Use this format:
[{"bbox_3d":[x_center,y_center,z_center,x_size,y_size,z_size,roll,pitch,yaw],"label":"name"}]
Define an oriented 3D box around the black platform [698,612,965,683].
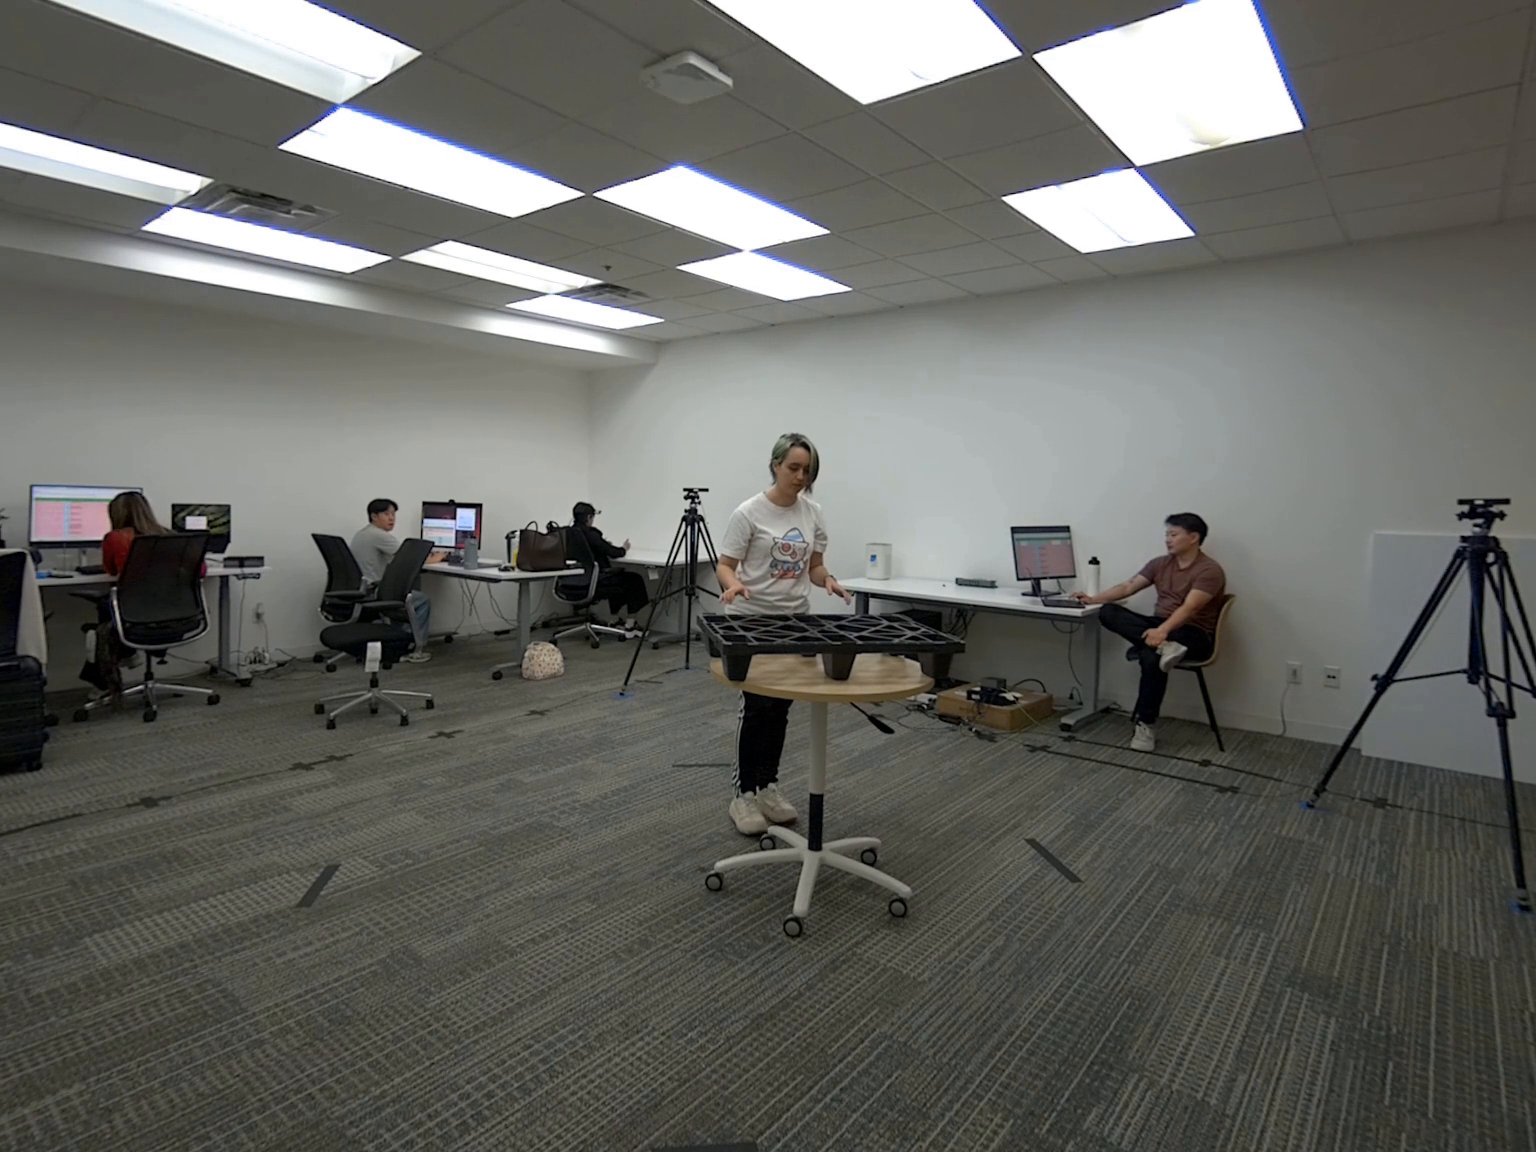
[{"bbox_3d":[0.171,0.244,2.968,0.797,0.143,0.614,1,6,-11],"label":"black platform"}]
